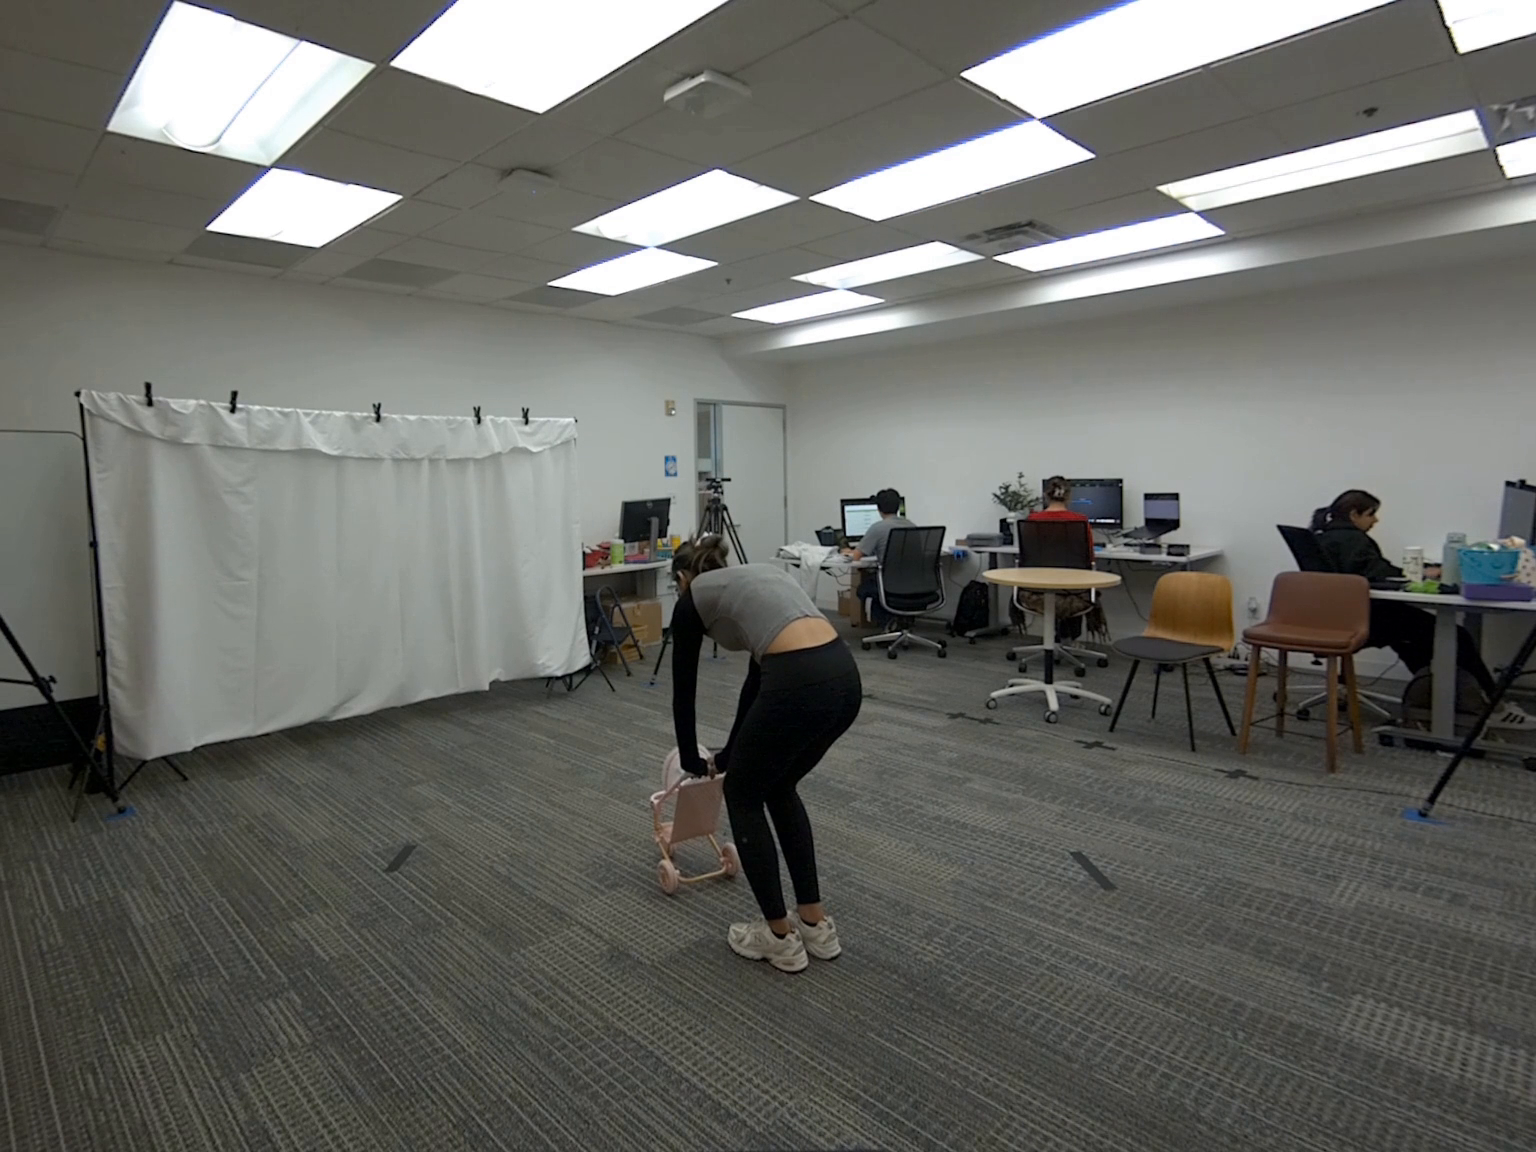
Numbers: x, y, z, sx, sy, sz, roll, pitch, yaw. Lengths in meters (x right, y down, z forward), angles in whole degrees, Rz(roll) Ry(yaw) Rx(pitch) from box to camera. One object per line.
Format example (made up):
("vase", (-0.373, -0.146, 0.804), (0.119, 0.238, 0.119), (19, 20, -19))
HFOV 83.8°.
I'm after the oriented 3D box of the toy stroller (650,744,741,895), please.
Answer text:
("toy stroller", (-0.273, 0.824, 3.002), (0.275, 0.528, 0.353), (-4, 18, -27))
